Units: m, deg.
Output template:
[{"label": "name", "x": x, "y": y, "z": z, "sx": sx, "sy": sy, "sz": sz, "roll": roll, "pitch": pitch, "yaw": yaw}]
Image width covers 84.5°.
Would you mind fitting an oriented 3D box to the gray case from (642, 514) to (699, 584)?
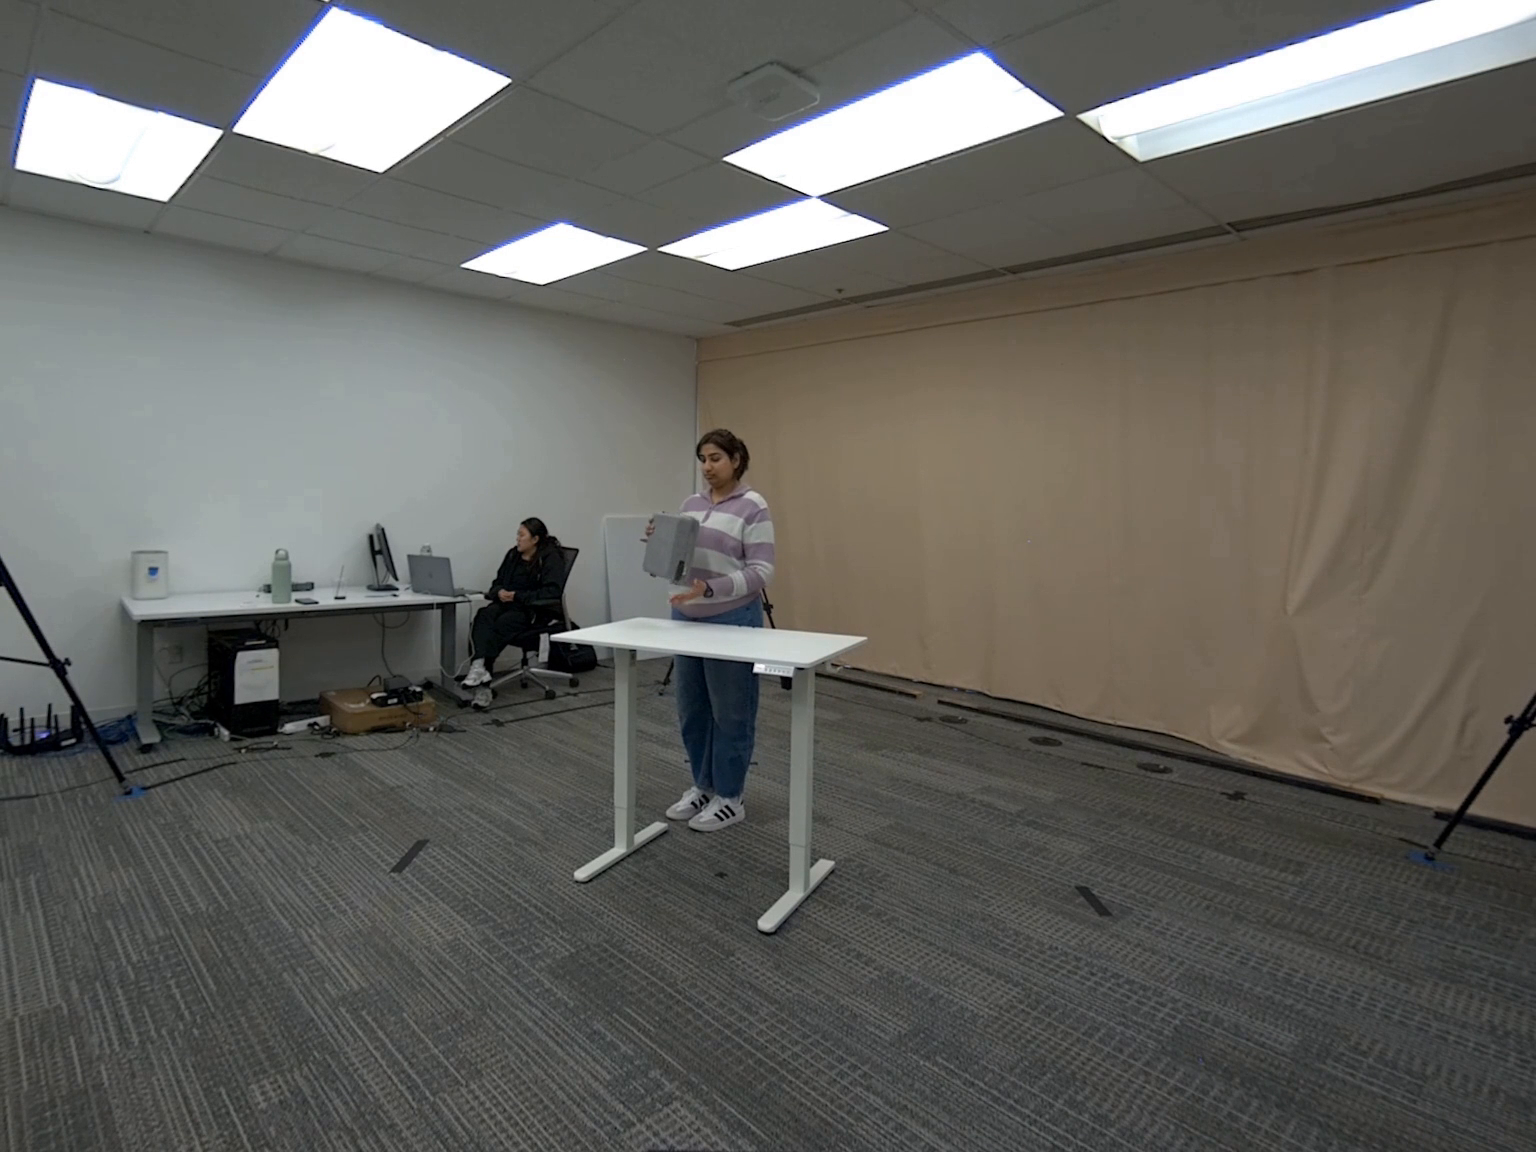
[{"label": "gray case", "x": -0.396, "y": -0.123, "z": 3.330, "sx": 0.102, "sy": 0.257, "sz": 0.267, "roll": 9, "pitch": 0, "yaw": -32}]
